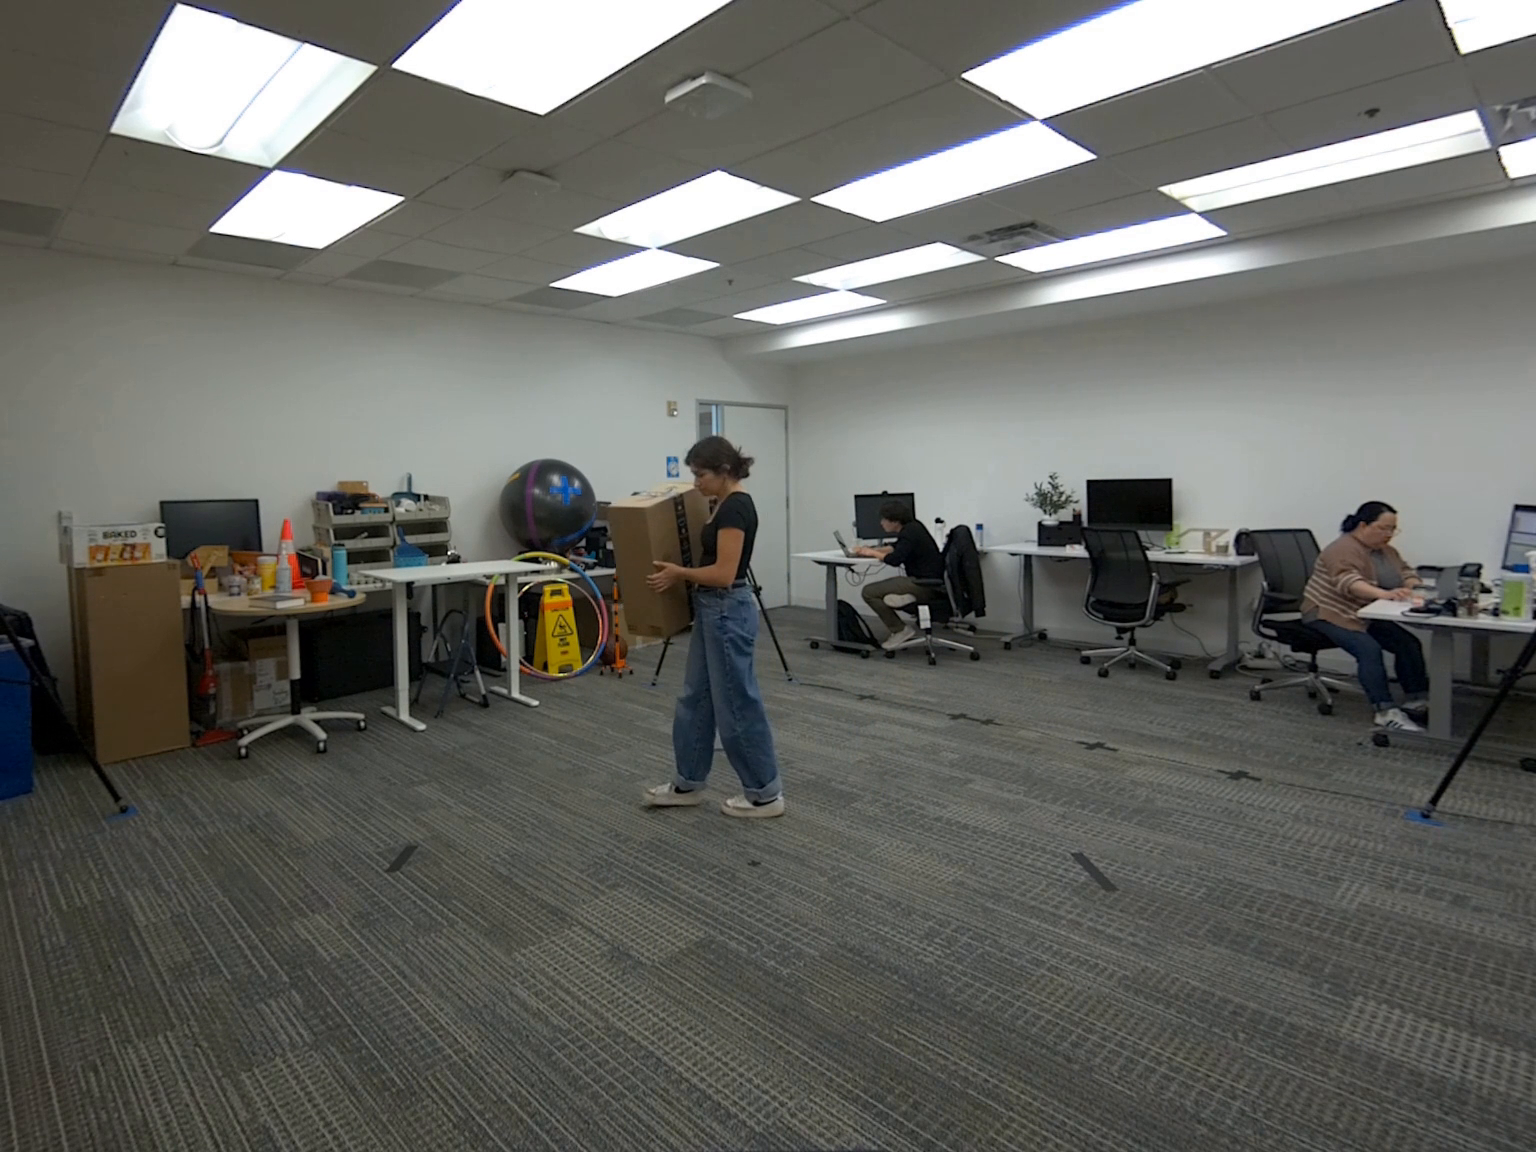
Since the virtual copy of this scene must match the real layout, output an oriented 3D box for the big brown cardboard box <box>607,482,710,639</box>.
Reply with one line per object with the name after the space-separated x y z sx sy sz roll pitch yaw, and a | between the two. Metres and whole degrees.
-0.440 -0.086 3.693 0.240 0.581 0.412 2 17 34 | big brown cardboard box
